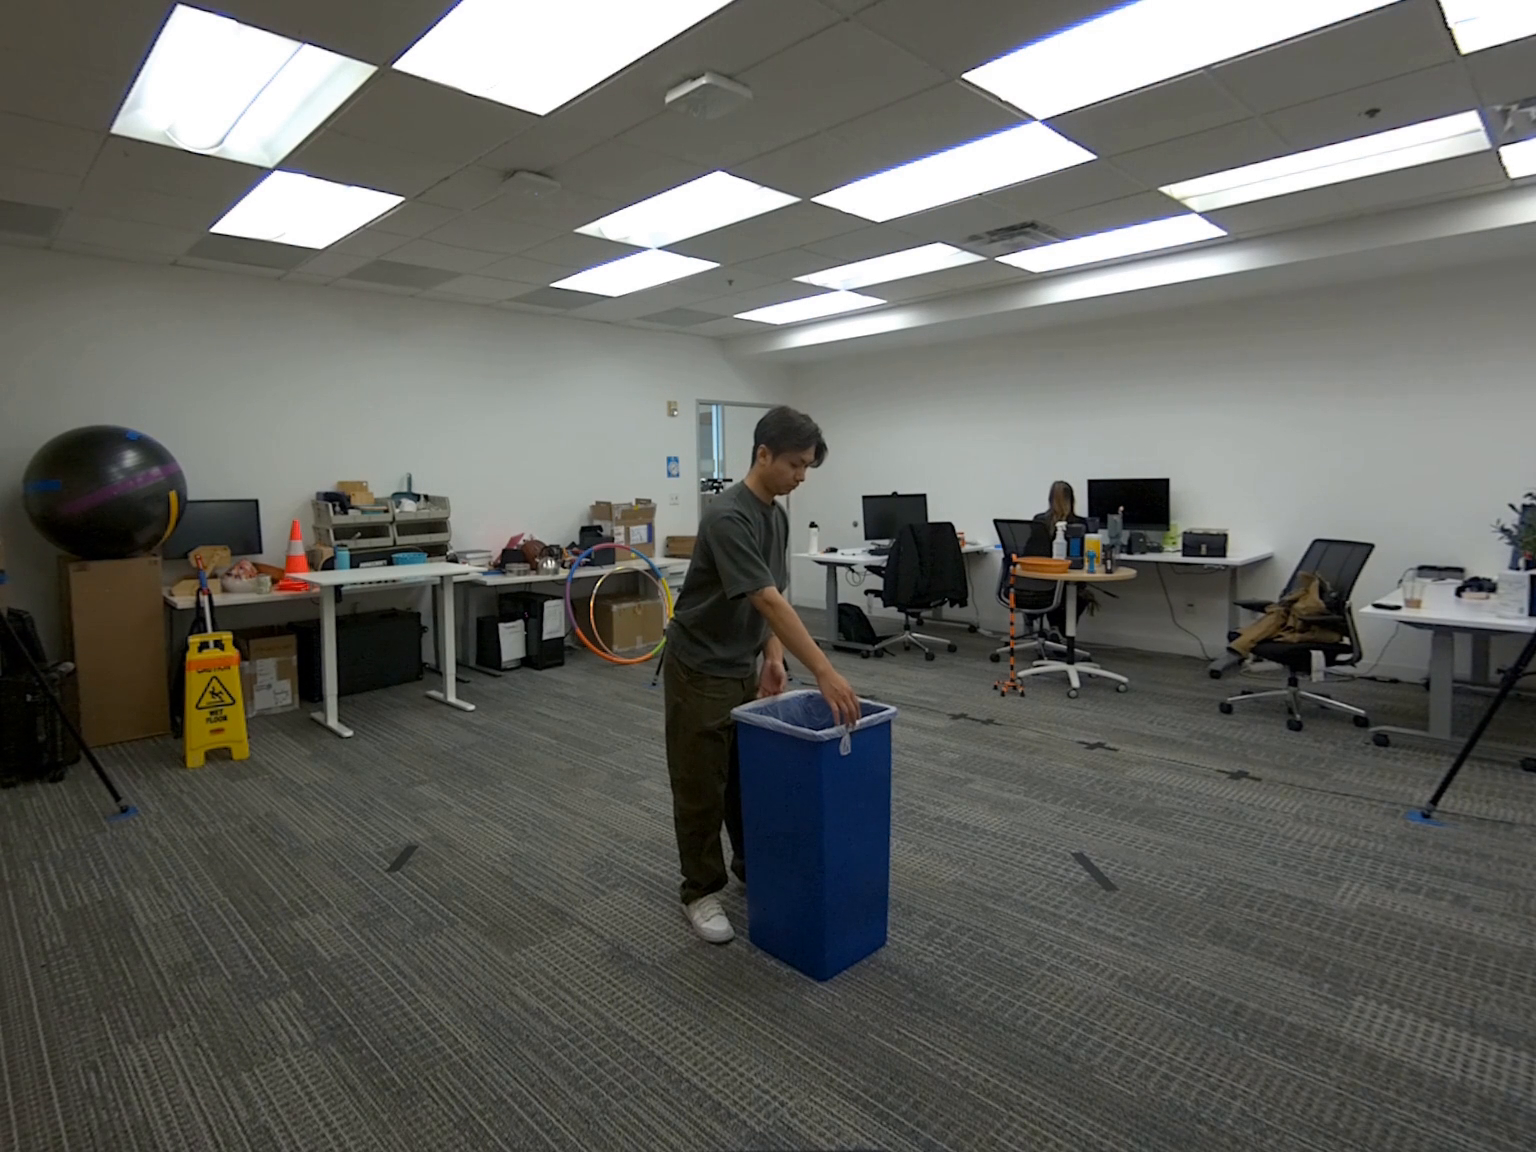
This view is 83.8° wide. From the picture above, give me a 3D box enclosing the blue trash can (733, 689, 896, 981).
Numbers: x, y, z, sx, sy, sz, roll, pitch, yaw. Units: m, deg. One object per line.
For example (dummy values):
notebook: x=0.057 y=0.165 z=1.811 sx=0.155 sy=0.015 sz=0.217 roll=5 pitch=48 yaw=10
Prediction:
blue trash can: x=0.141 y=0.747 z=2.552 sx=0.368 sy=0.711 sz=0.386 roll=-4 pitch=6 yaw=-44
